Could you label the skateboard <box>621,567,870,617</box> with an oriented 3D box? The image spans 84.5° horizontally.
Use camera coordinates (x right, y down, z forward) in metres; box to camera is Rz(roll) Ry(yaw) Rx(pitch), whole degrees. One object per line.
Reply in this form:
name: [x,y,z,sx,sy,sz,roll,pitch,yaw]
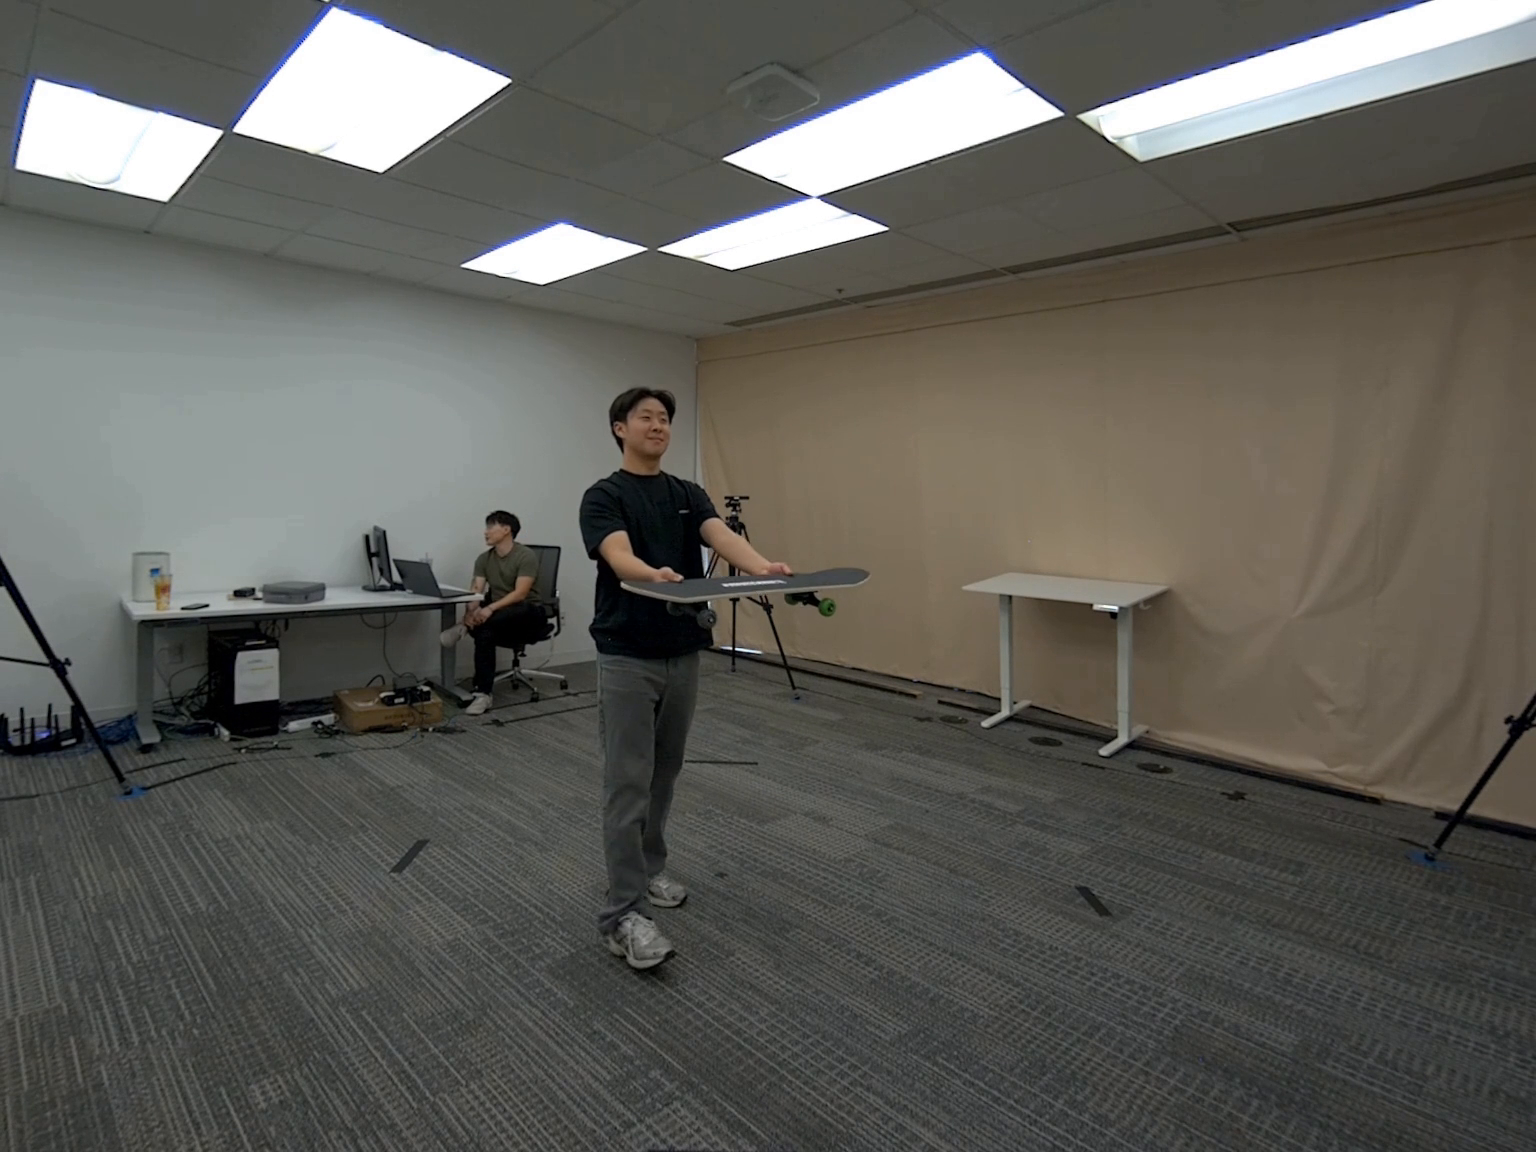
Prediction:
skateboard: [-0.049,0.058,2.279,0.769,0.109,0.199,-4,12,-36]
